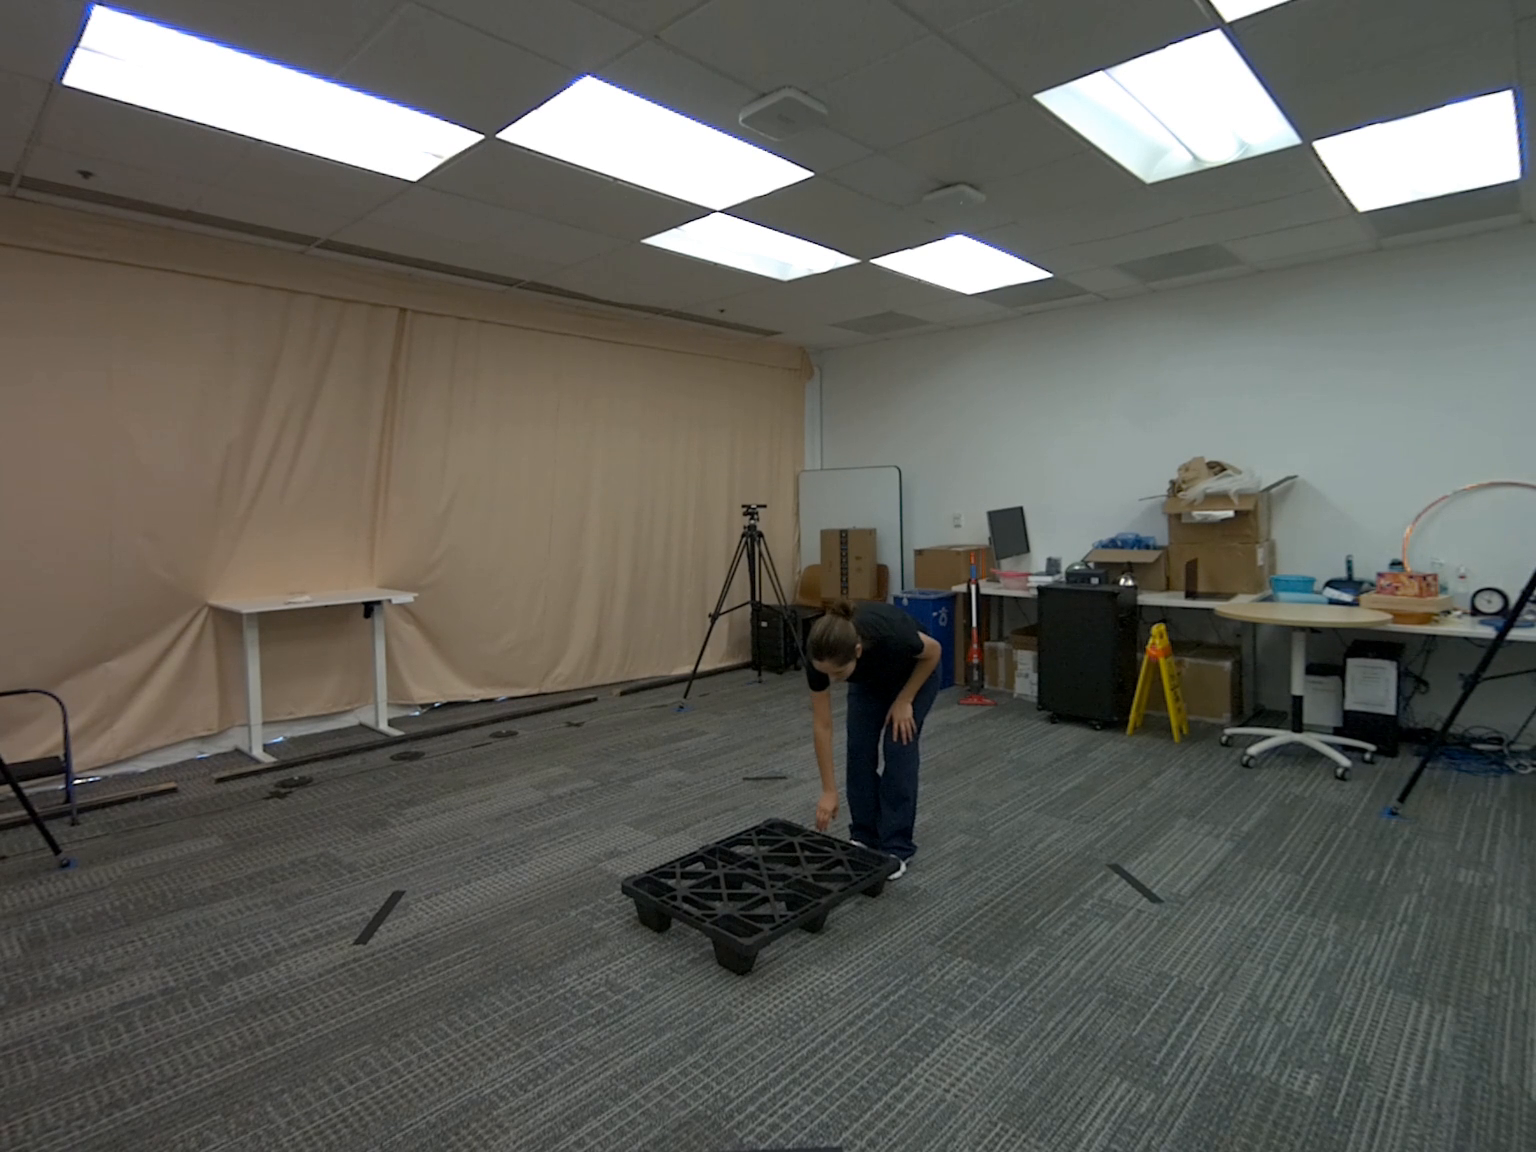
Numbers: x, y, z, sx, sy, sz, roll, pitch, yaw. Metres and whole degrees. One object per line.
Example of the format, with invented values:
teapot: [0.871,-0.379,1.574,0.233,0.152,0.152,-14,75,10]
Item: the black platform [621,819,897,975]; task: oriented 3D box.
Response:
black platform: [0.006,1.082,2.904,0.625,0.143,0.781,5,8,43]
